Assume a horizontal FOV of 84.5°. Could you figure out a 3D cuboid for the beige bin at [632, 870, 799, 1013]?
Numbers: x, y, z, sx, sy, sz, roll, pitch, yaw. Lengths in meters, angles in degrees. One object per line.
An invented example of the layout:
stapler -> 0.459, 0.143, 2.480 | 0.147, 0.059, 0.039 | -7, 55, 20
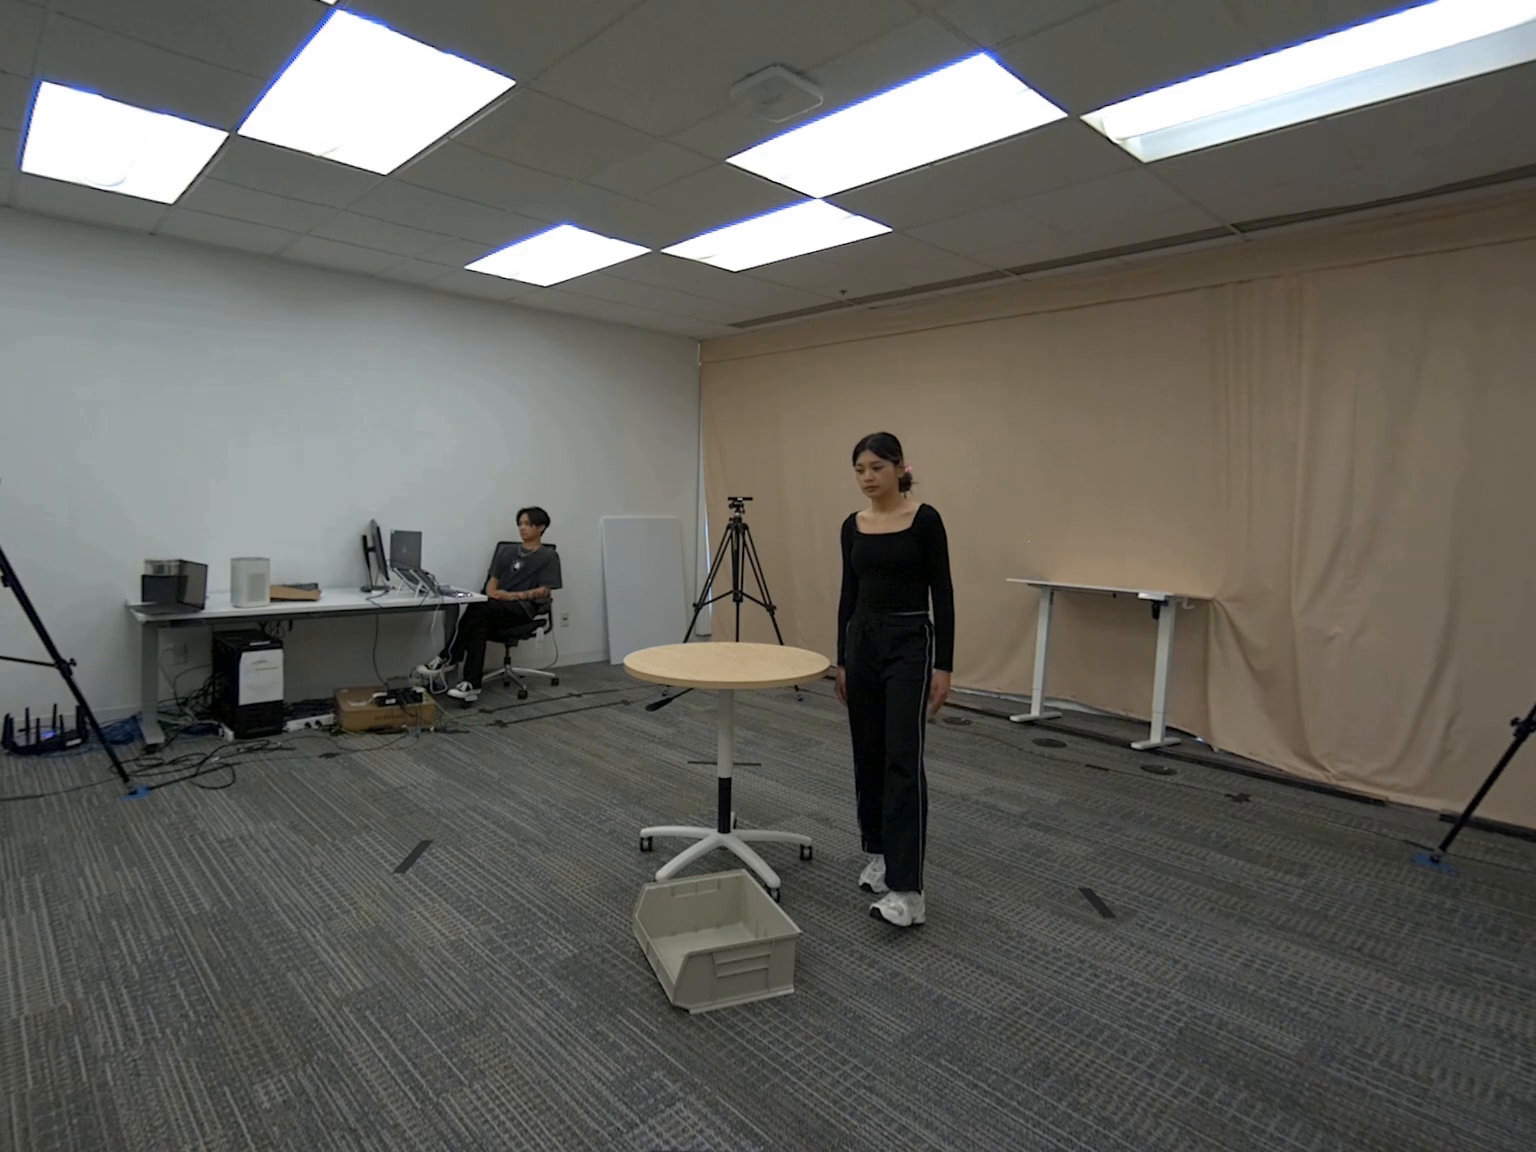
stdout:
beige bin -> -0.171, 1.076, 2.496 | 0.371, 0.188, 0.430 | 0, 4, -24
